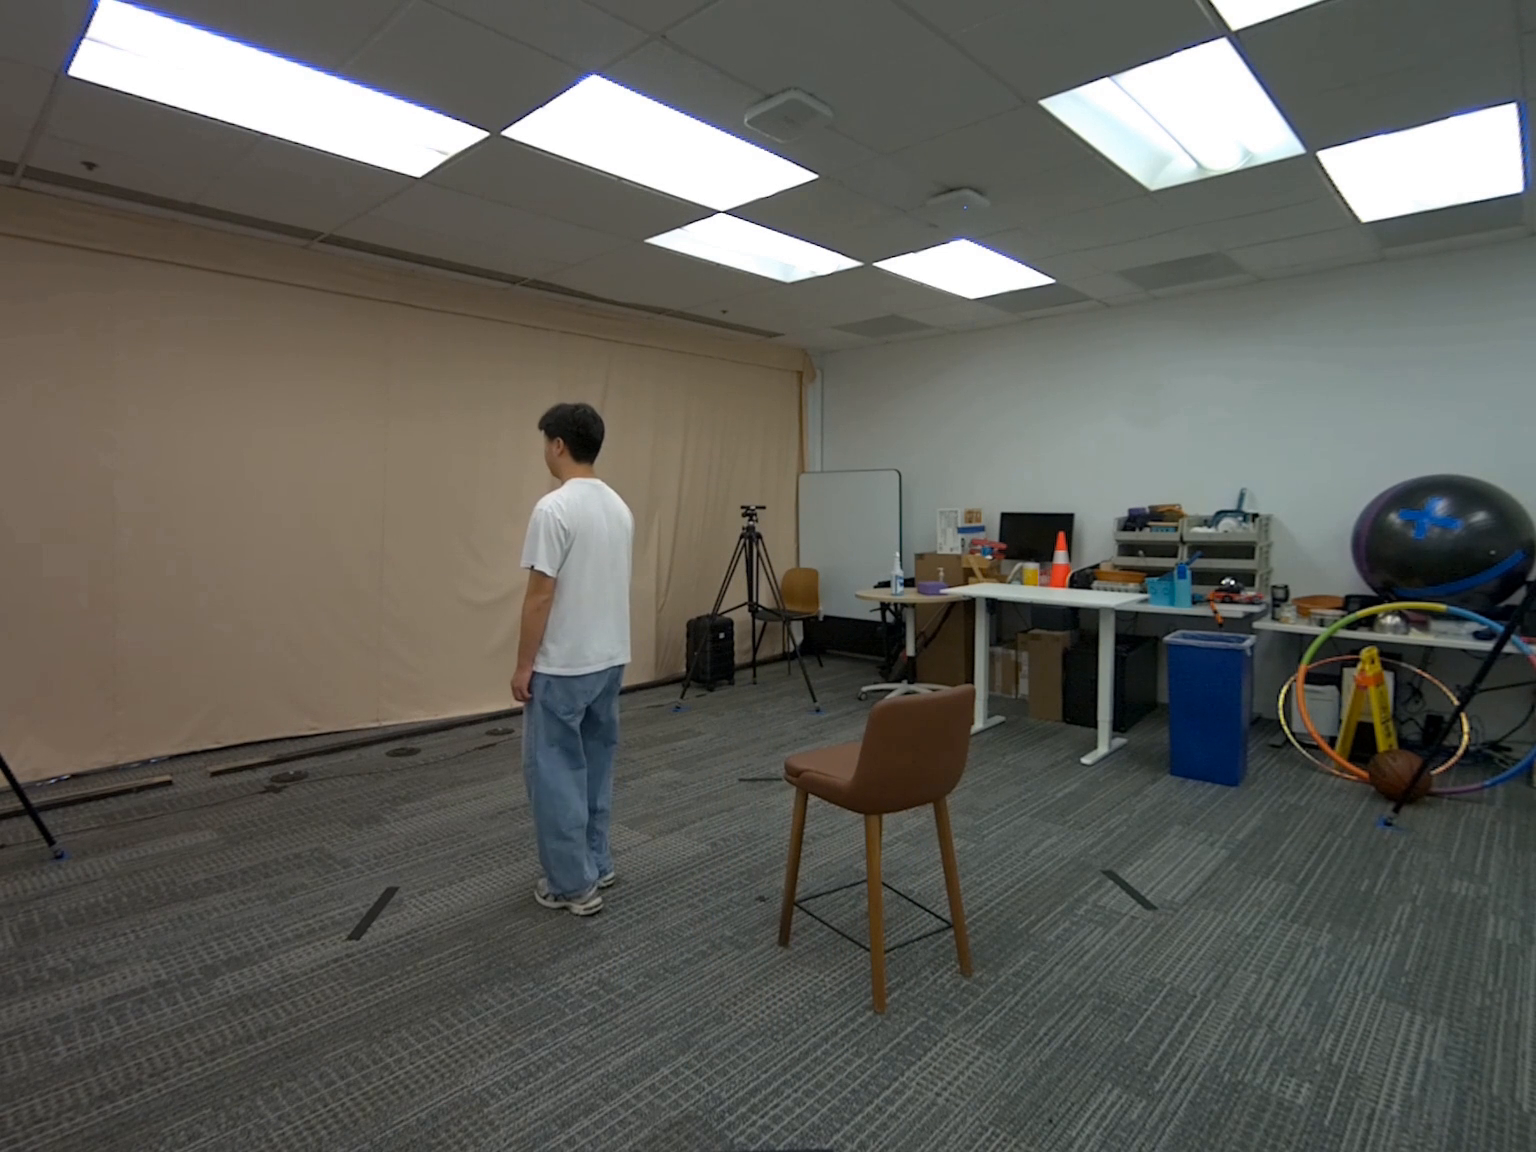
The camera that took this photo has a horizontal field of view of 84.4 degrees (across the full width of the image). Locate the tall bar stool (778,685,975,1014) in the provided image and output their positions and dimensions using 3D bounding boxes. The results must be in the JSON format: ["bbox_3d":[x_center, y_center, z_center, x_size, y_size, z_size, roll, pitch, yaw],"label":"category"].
[{"bbox_3d":[0.337,0.742,2.561,0.443,0.887,0.482,-2,6,-34],"label":"tall bar stool"}]
